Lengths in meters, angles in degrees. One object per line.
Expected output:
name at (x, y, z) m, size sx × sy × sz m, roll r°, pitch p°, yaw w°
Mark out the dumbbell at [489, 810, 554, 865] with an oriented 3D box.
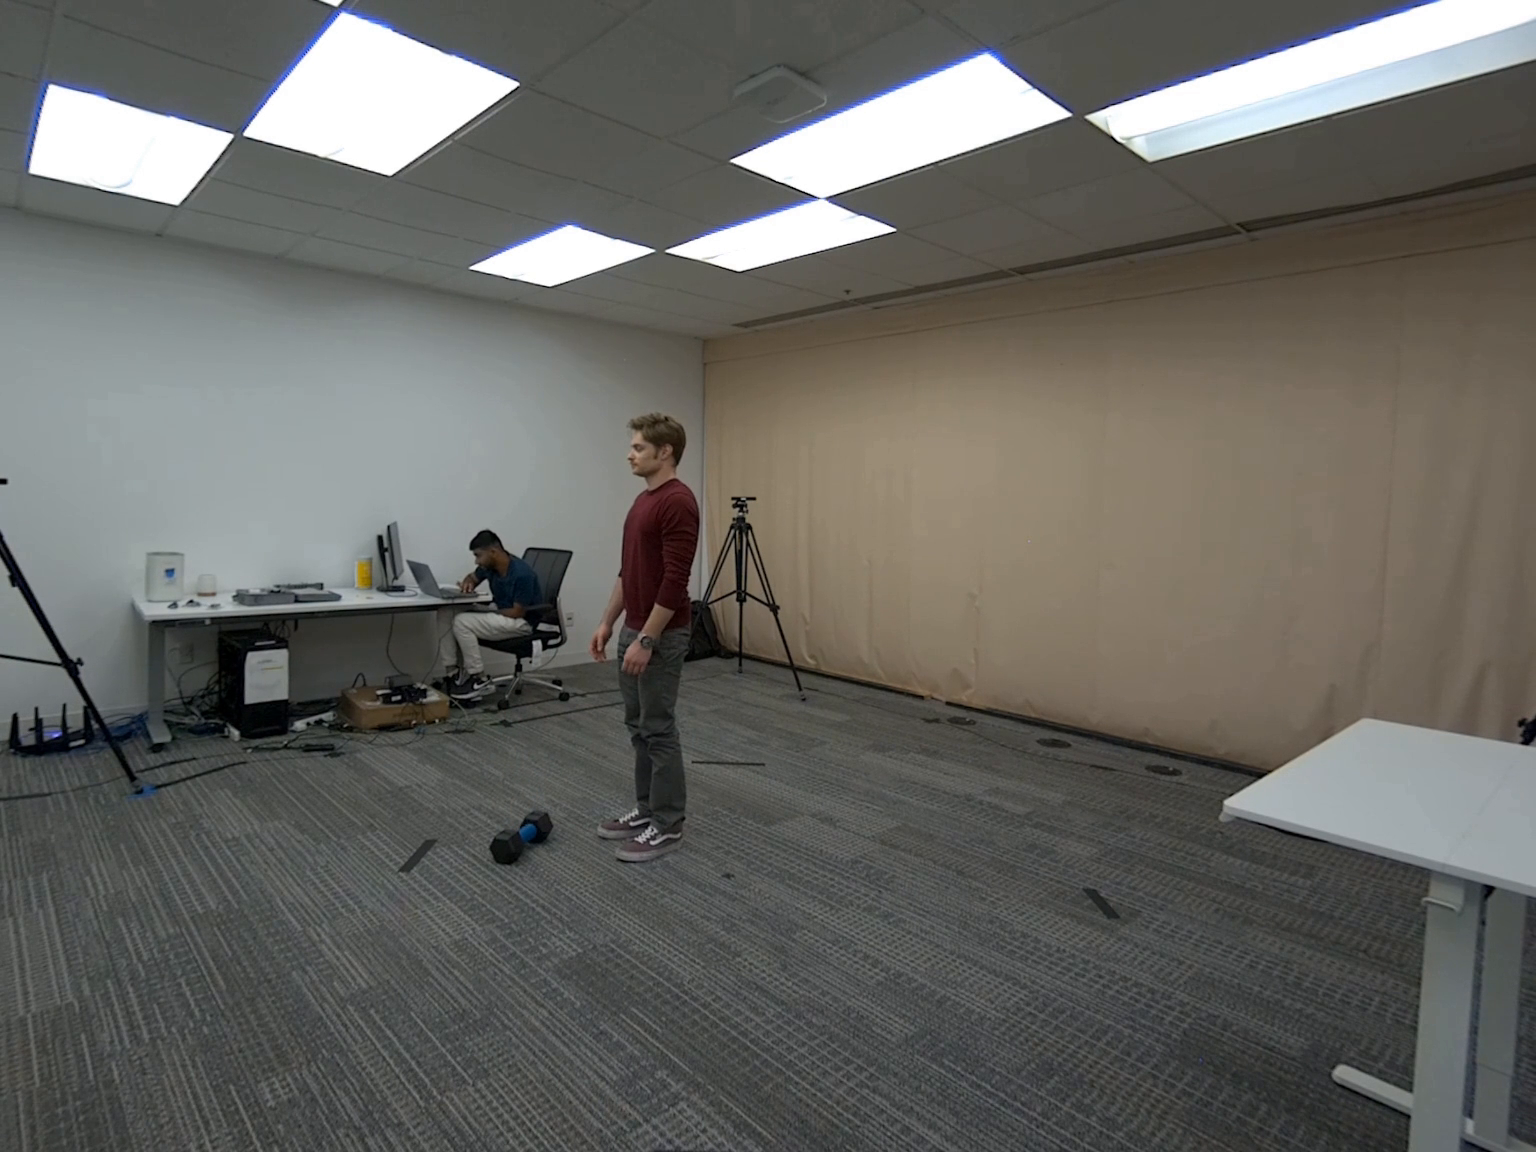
dumbbell at (-0.967, 1.018, 3.288) m, size 0.109 × 0.123 × 0.290 m, roll -28°, pitch -3°, yaw 16°
